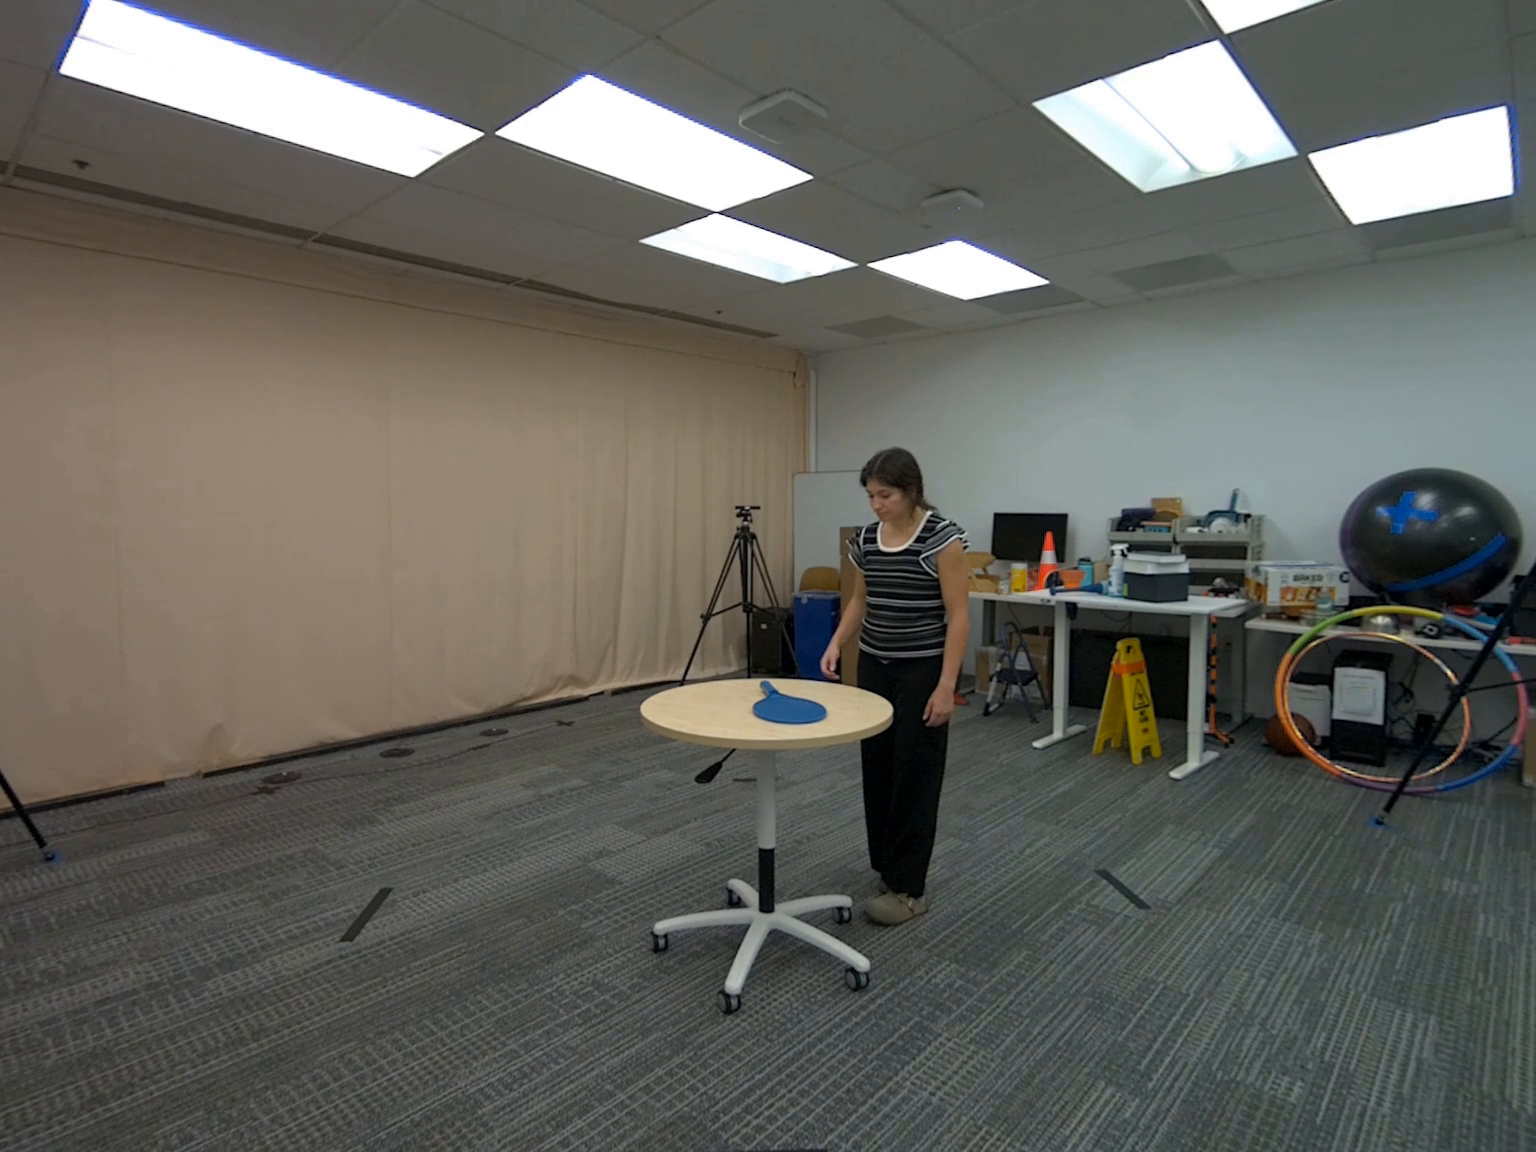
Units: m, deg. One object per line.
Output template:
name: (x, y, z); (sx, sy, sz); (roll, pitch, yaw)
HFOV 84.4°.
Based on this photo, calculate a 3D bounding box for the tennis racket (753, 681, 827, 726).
tennis racket: (0.046, 0.391, 2.548); (0.211, 0.031, 0.440); (-2, 7, -14)
